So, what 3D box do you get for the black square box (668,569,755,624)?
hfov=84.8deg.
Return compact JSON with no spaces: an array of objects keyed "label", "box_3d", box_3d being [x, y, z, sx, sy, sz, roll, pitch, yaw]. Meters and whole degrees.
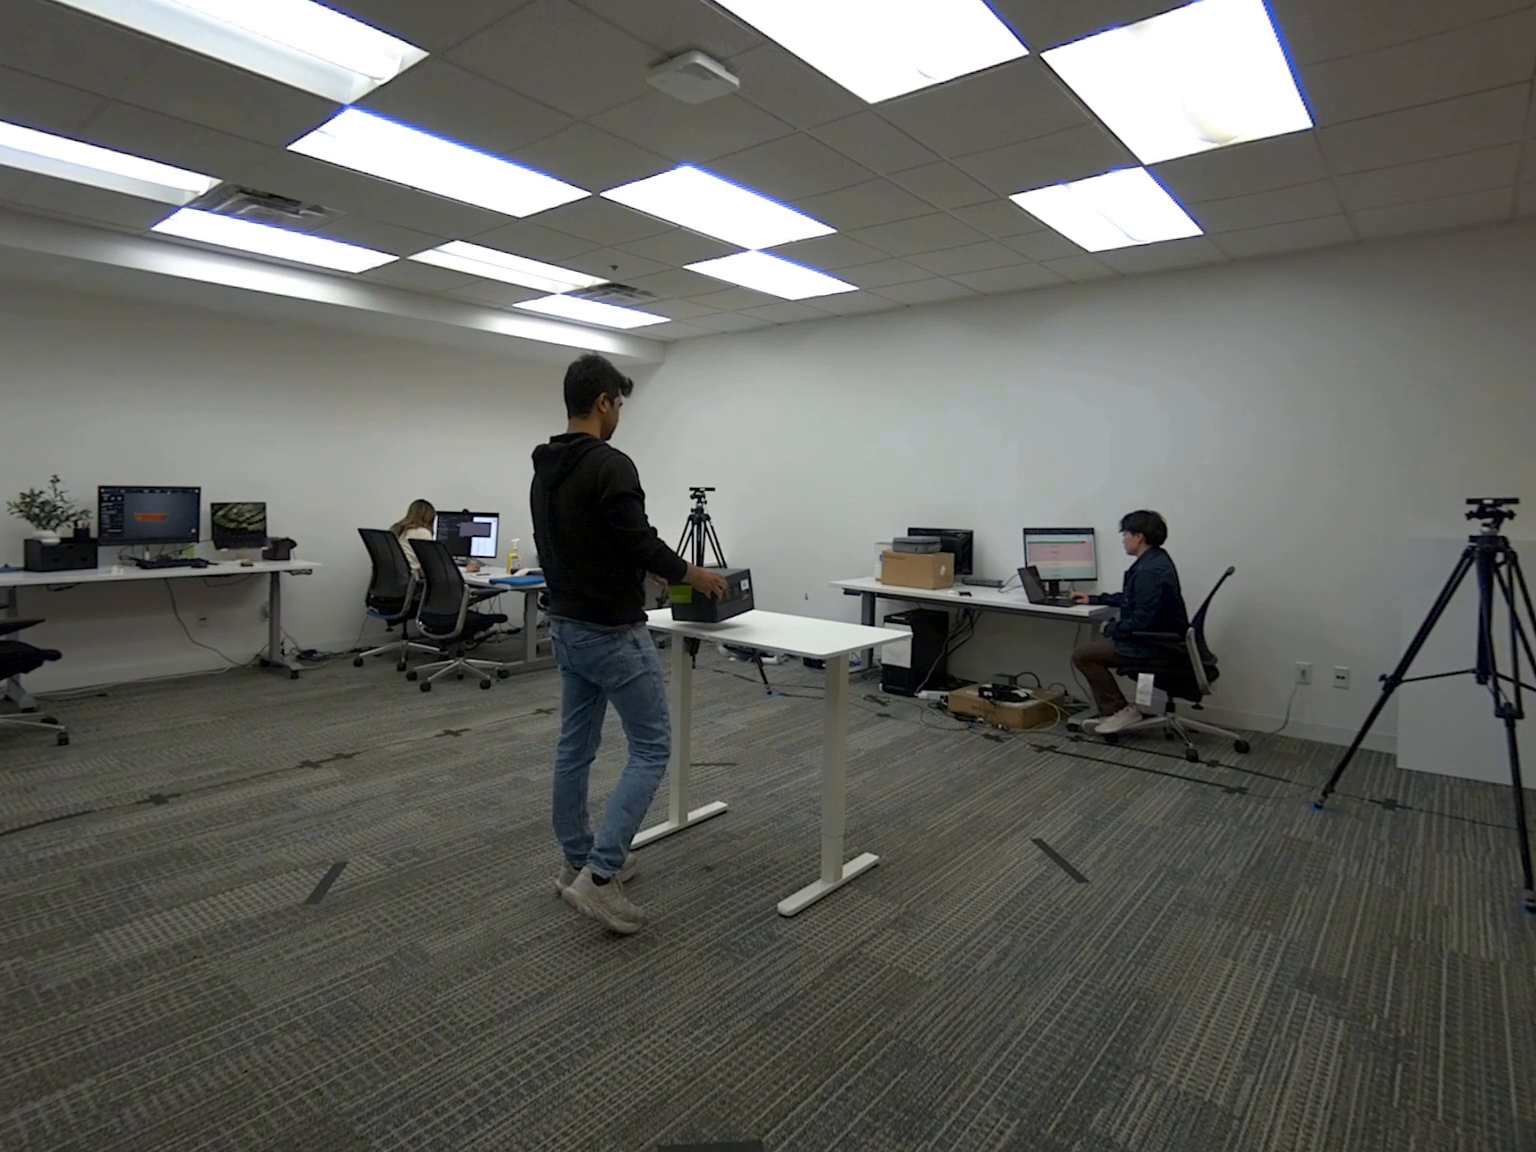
[{"label":"black square box","box_3d":[-0.228,0.063,3.141,0.235,0.155,0.212,-1,11,40]}]
